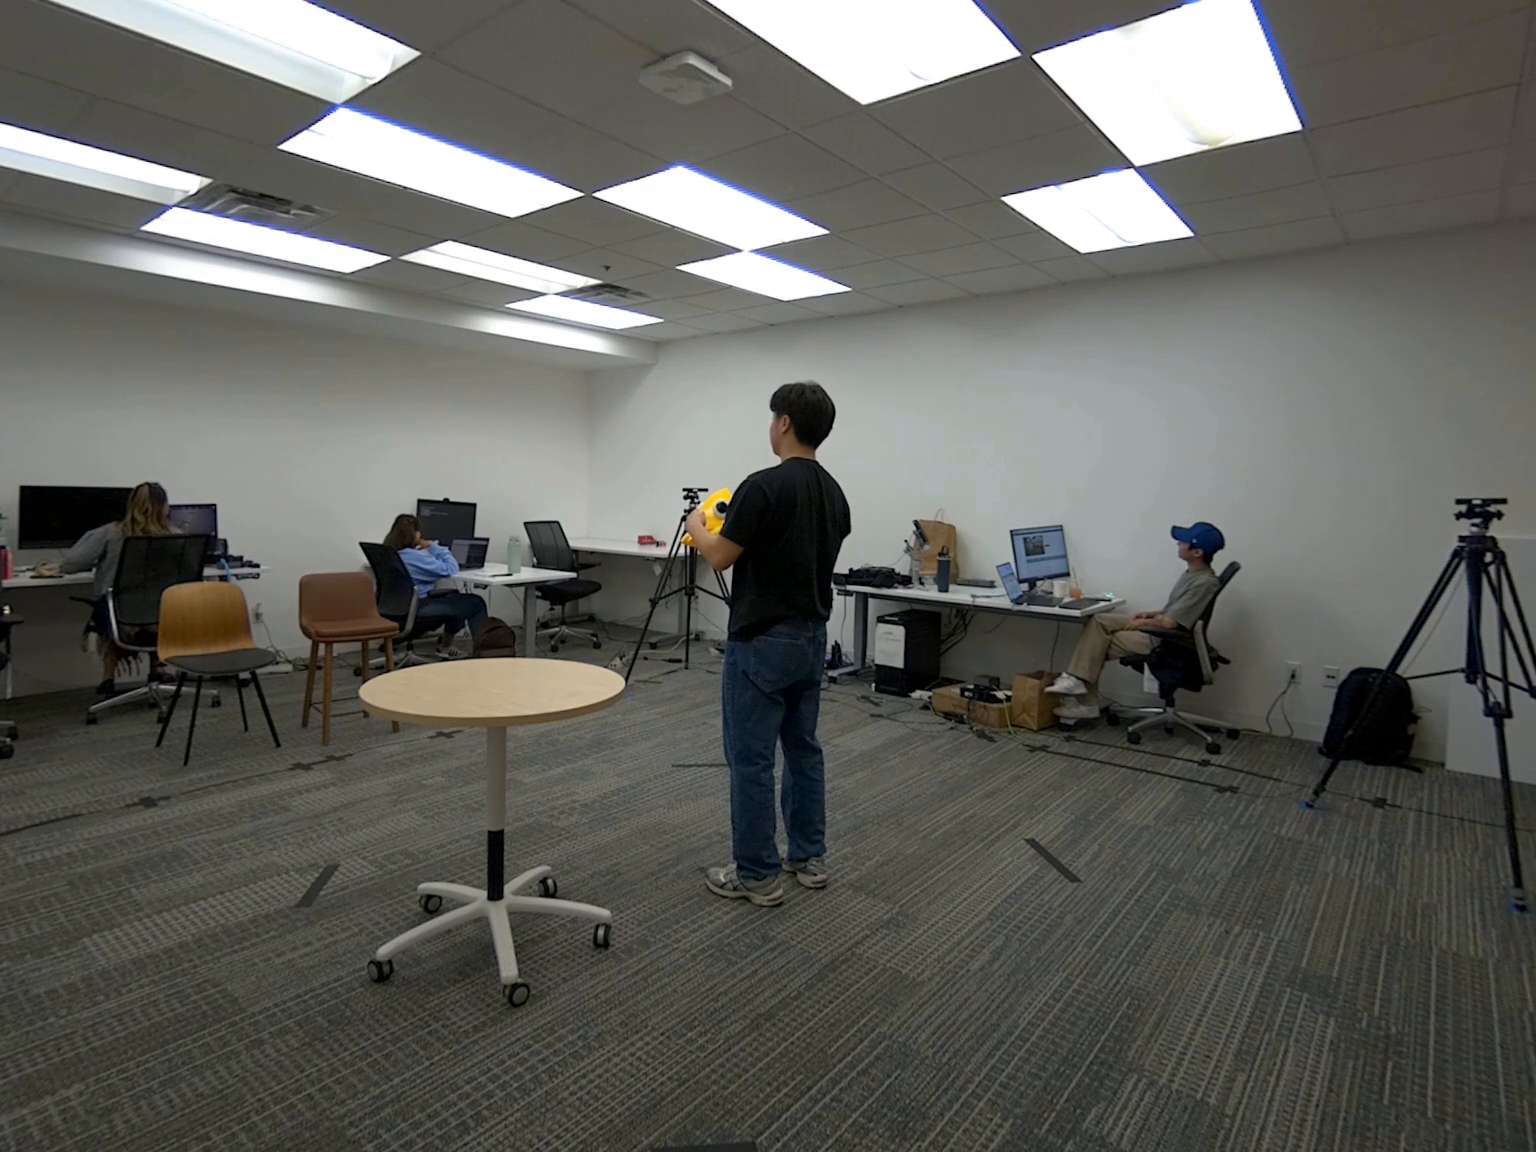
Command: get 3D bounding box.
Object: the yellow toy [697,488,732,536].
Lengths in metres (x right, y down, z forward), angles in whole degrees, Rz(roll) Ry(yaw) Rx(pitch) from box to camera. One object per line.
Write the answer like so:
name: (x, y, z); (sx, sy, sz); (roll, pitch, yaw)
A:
yellow toy: (-0.212, -0.236, 3.200); (0.186, 0.233, 0.210); (12, -12, -42)
